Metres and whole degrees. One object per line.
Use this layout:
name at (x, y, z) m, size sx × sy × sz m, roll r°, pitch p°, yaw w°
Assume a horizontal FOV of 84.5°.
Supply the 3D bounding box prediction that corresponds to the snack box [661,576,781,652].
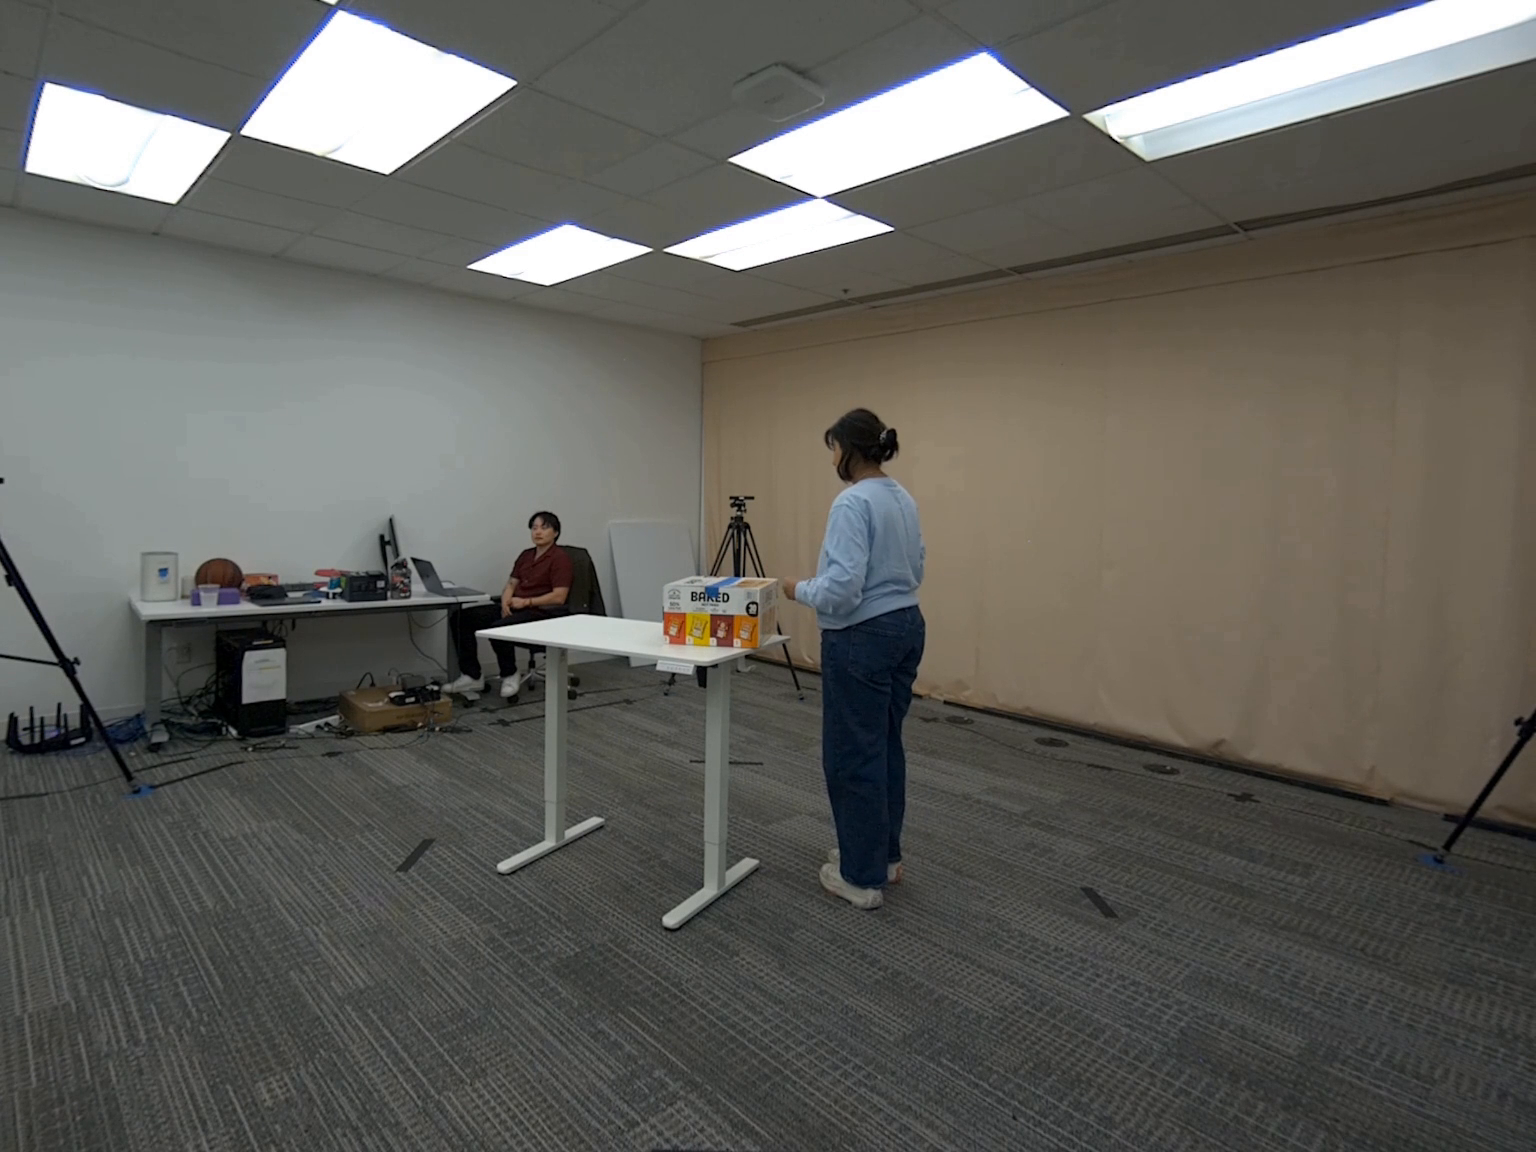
snack box at (-0.160, 0.125, 3.054) m, size 0.344 × 0.205 × 0.402 m, roll 2°, pitch 4°, yaw 12°
